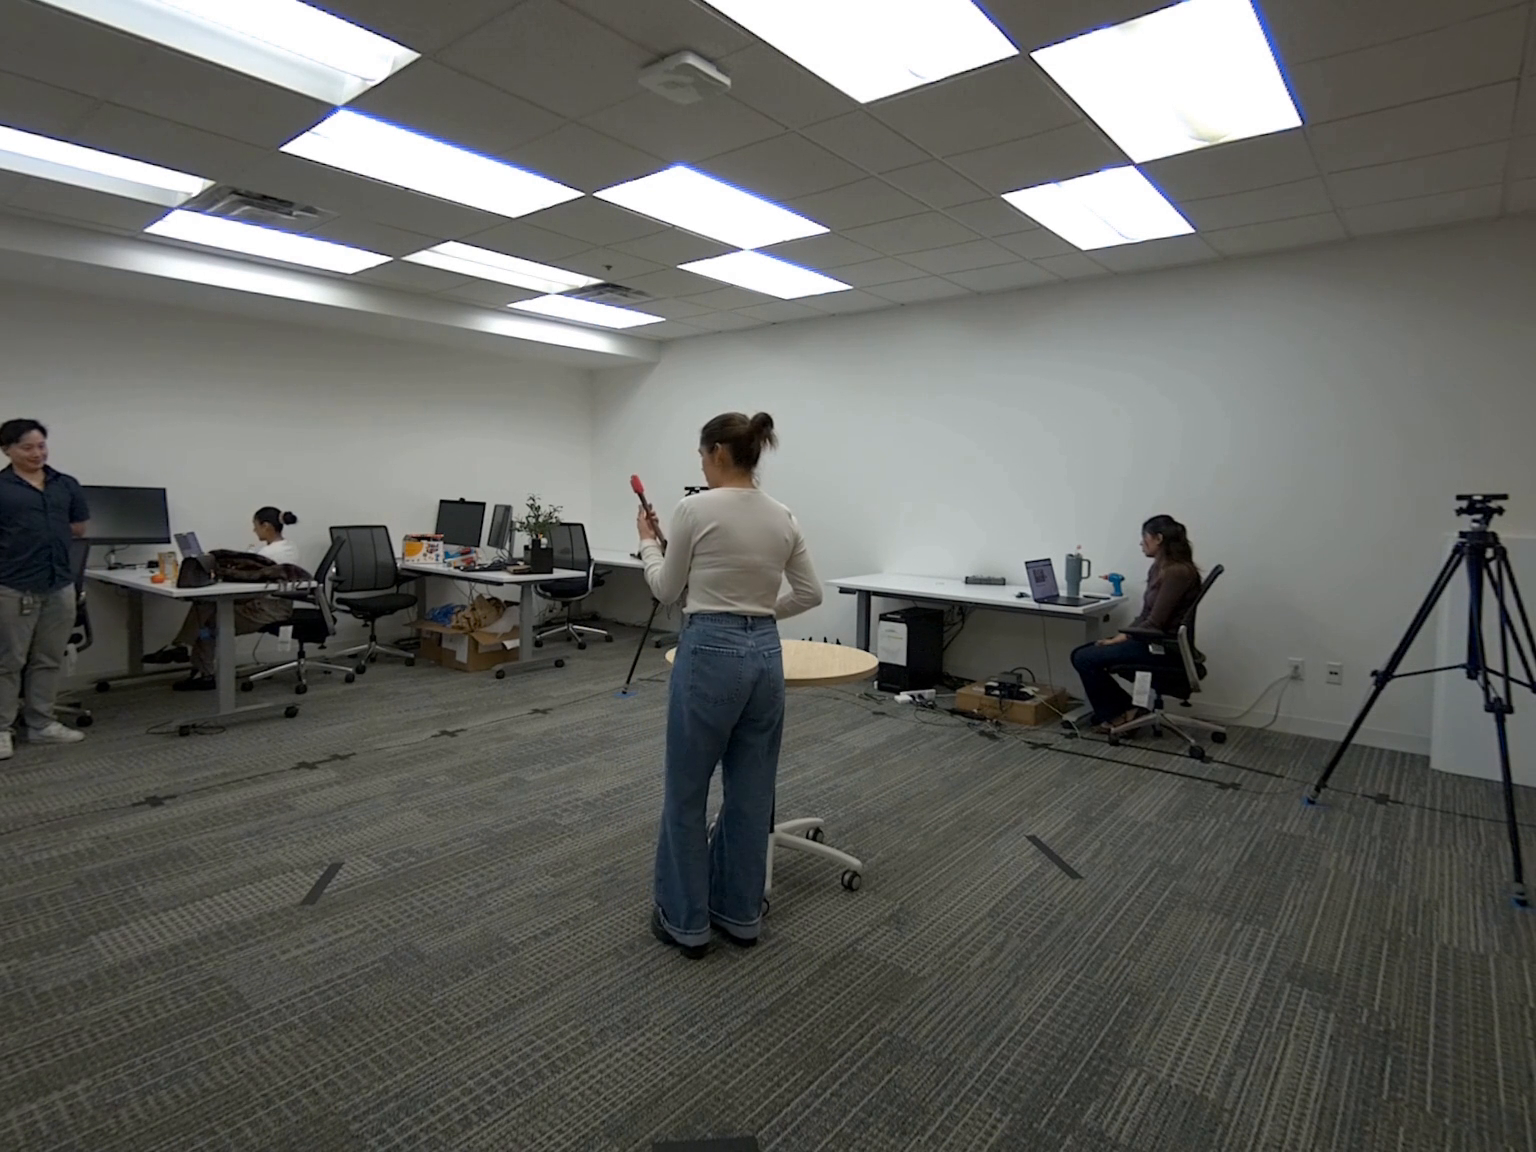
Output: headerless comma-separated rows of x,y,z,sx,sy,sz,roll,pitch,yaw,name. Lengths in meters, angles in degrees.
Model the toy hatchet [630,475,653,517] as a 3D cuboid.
-0.401,-0.227,2.728,0.029,0.280,0.127,-22,-33,-14,toy hatchet
